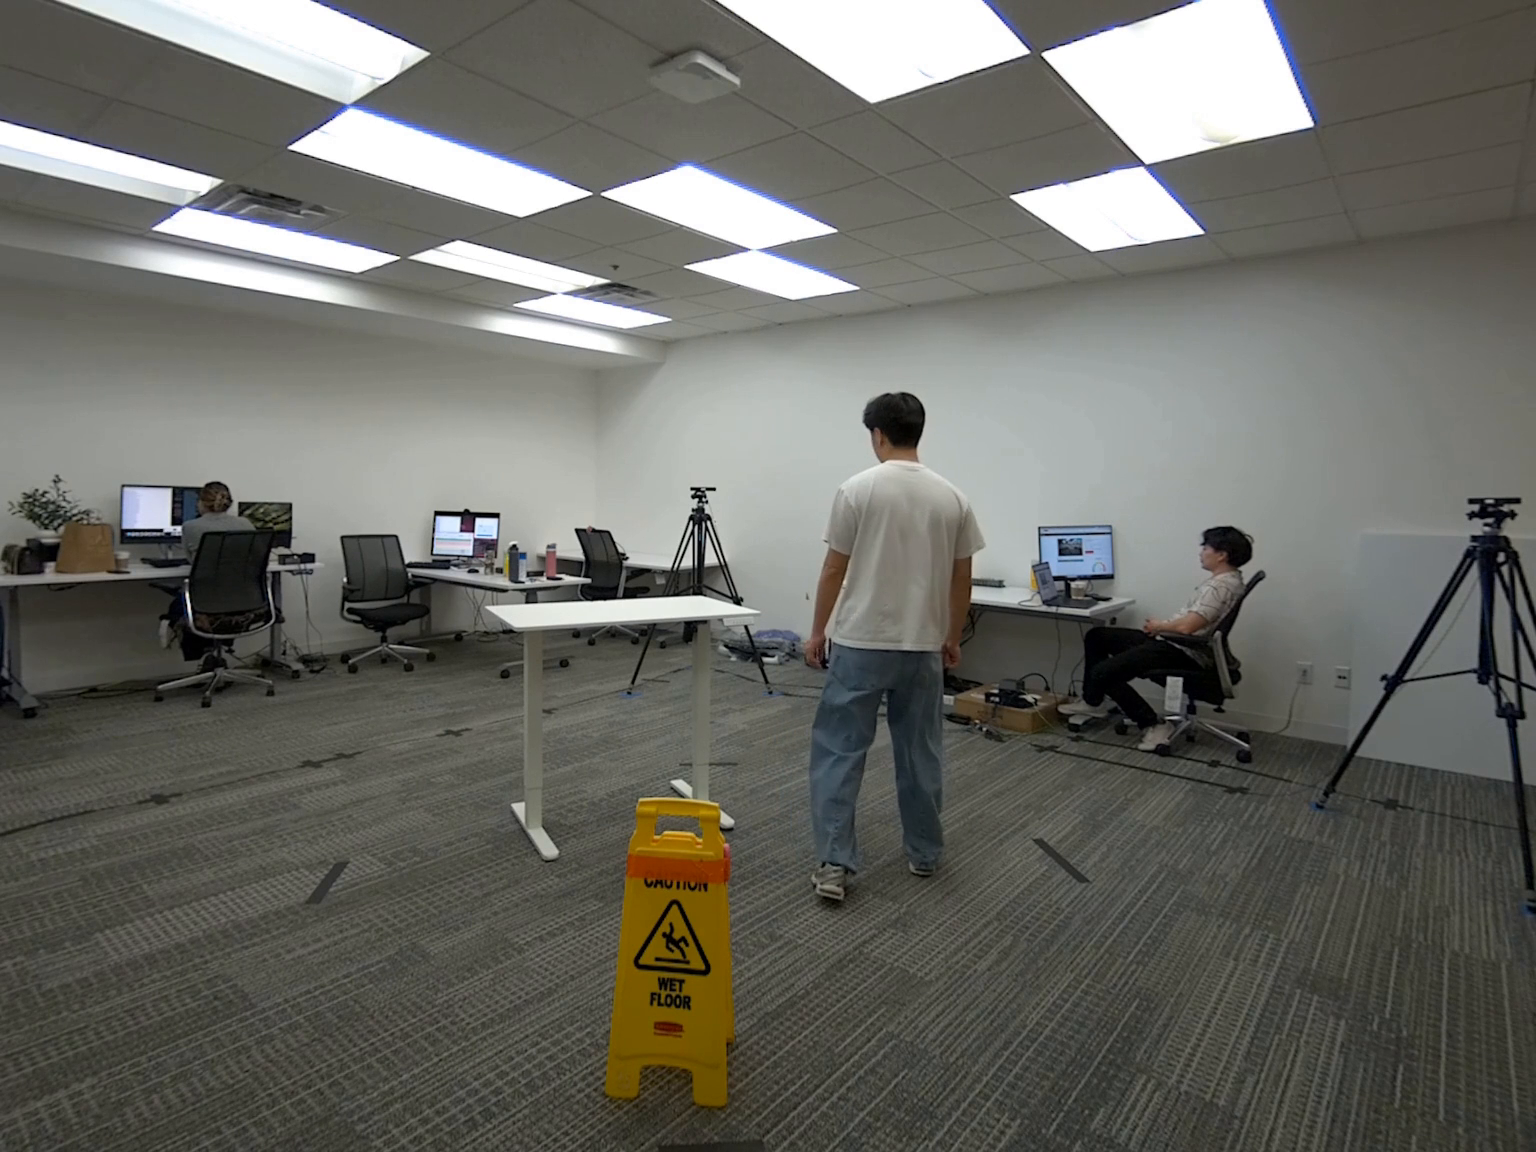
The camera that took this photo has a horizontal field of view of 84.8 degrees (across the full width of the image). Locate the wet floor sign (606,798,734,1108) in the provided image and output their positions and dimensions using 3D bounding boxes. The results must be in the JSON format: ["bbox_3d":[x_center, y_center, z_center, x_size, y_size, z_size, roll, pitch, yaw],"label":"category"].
[{"bbox_3d":[-0.224,0.849,2.014,0.283,0.644,0.289,1,3,2],"label":"wet floor sign"}]
